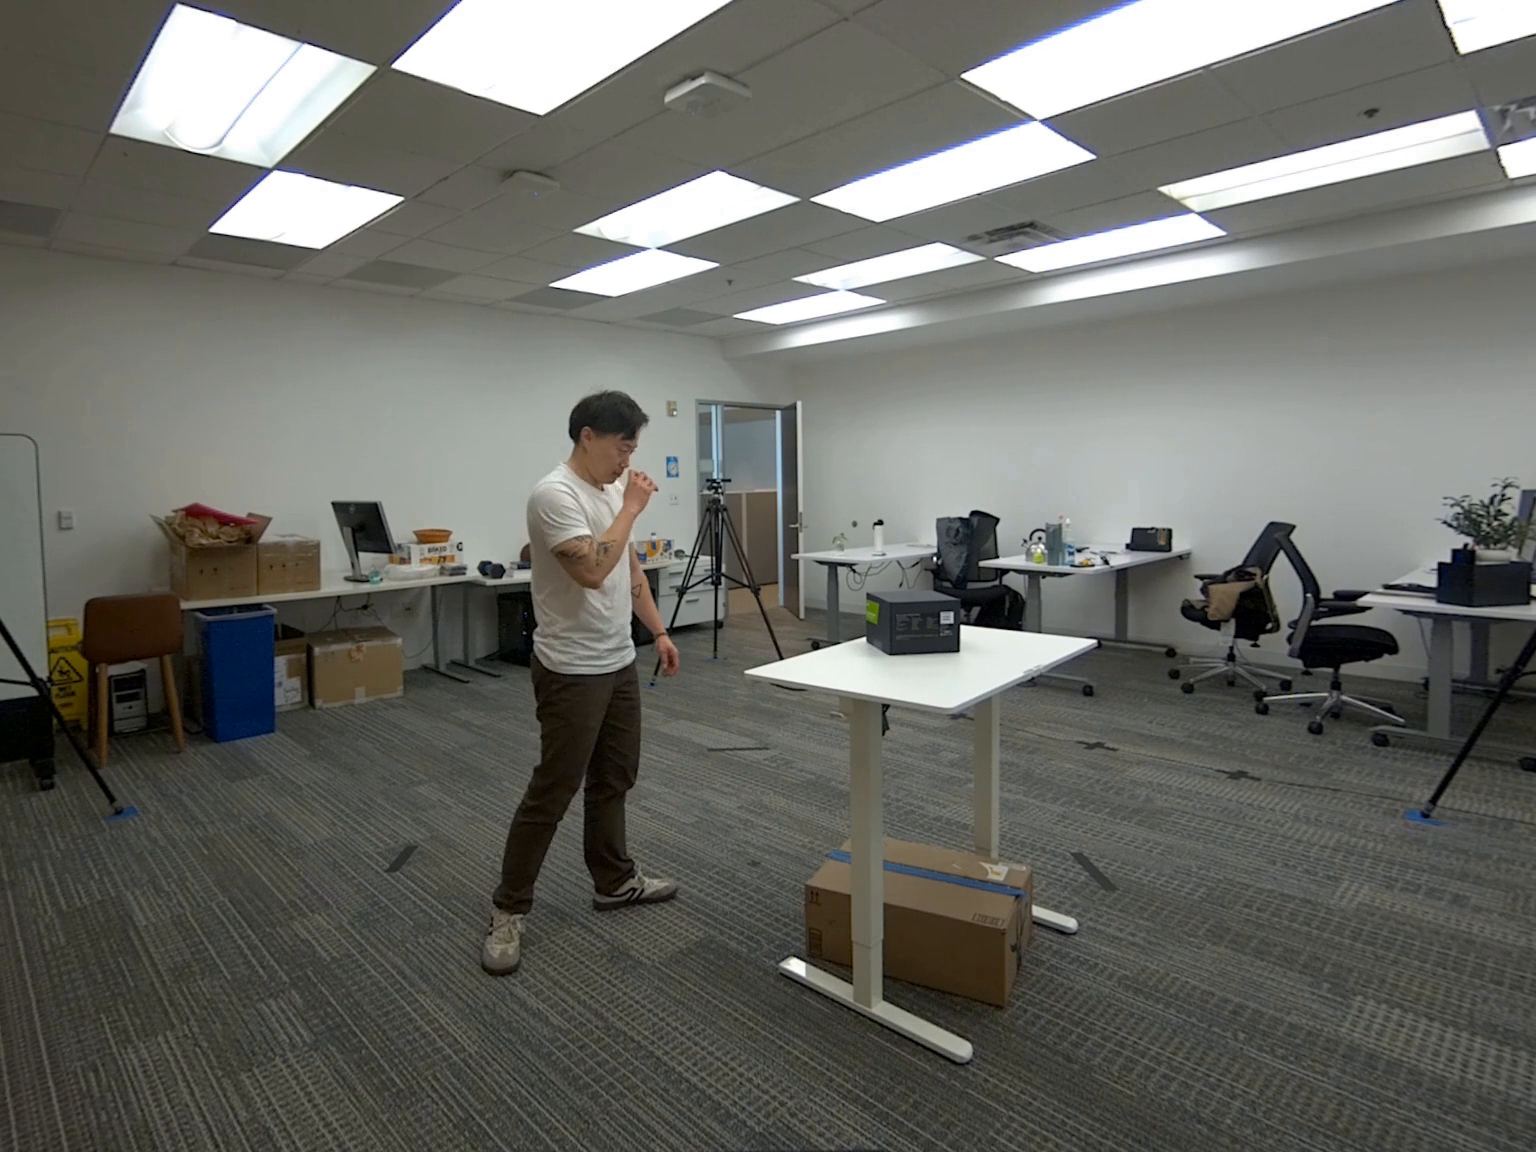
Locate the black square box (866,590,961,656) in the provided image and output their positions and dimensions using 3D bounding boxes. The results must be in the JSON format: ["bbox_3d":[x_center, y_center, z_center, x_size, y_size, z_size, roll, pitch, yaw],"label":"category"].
[{"bbox_3d":[0.437,0.134,2.577,0.215,0.155,0.231,-2,5,-12],"label":"black square box"}]
